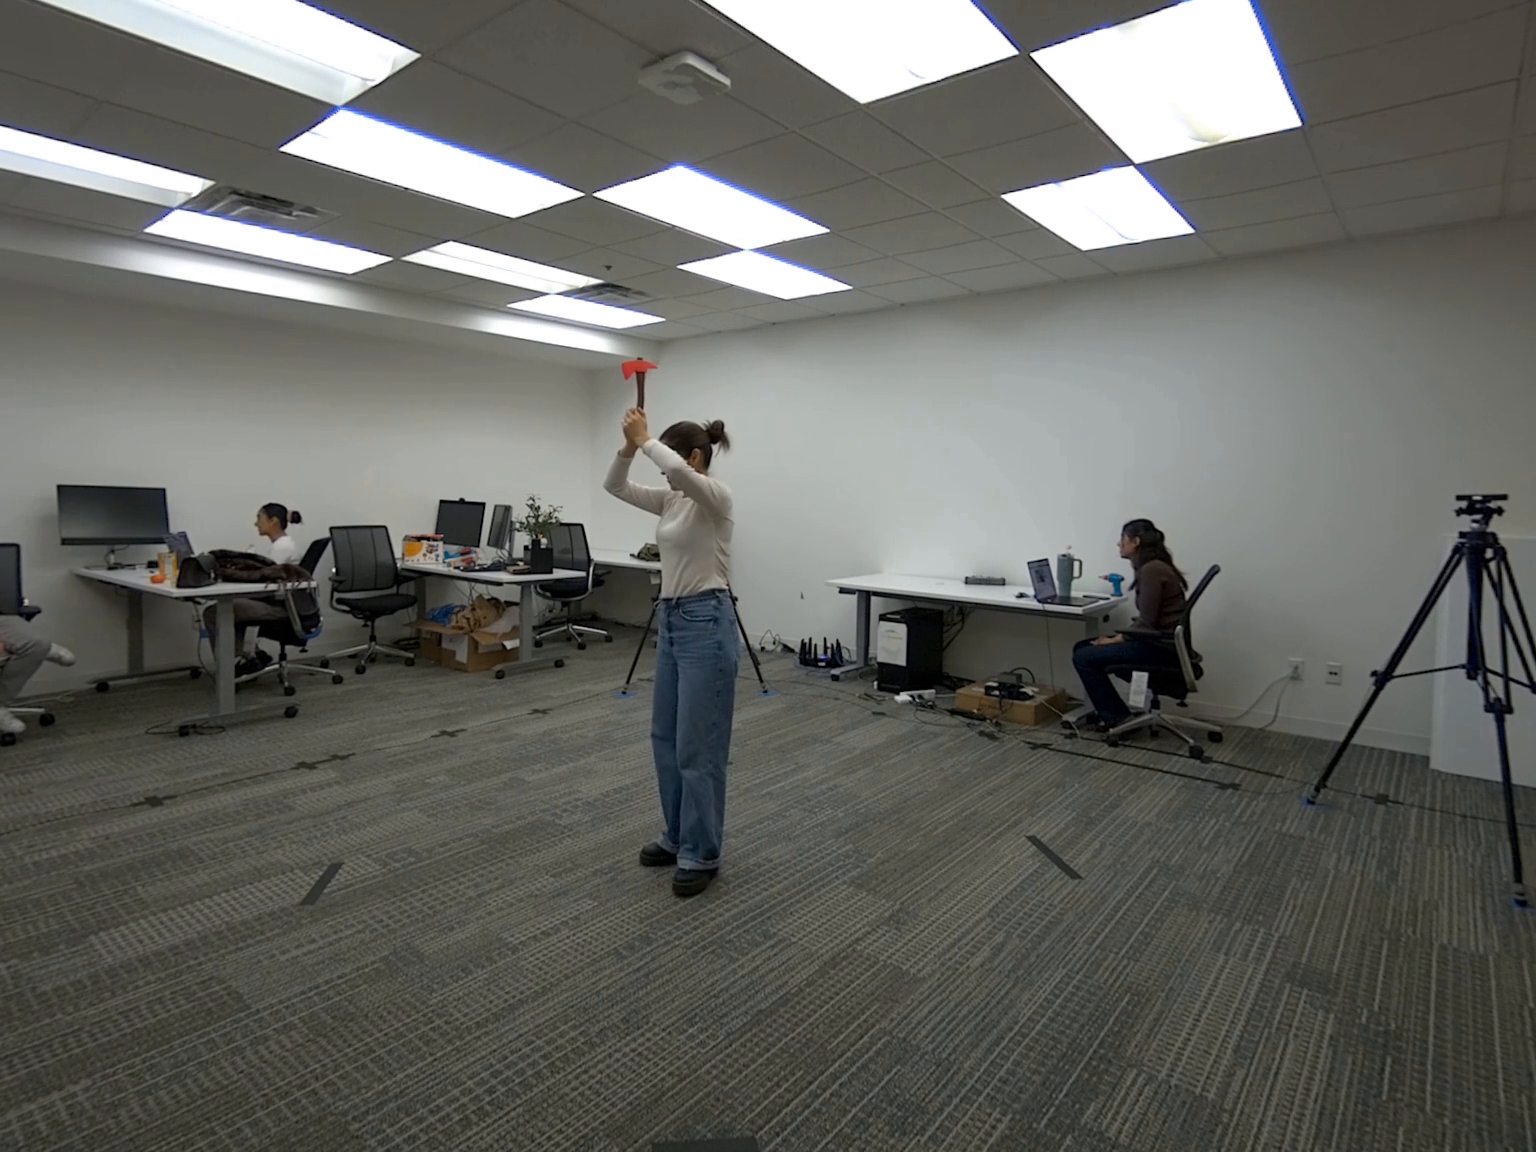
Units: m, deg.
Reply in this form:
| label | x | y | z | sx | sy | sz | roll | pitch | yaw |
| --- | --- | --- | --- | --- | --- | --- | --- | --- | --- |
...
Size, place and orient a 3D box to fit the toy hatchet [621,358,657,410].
| label | x | y | z | sx | sy | sz | roll | pitch | yaw |
| --- | --- | --- | --- | --- | --- | --- | --- | --- | --- |
| toy hatchet | -0.480 | -0.641 | 2.966 | 0.127 | 0.271 | 0.030 | 17 | -6 | -25 |
